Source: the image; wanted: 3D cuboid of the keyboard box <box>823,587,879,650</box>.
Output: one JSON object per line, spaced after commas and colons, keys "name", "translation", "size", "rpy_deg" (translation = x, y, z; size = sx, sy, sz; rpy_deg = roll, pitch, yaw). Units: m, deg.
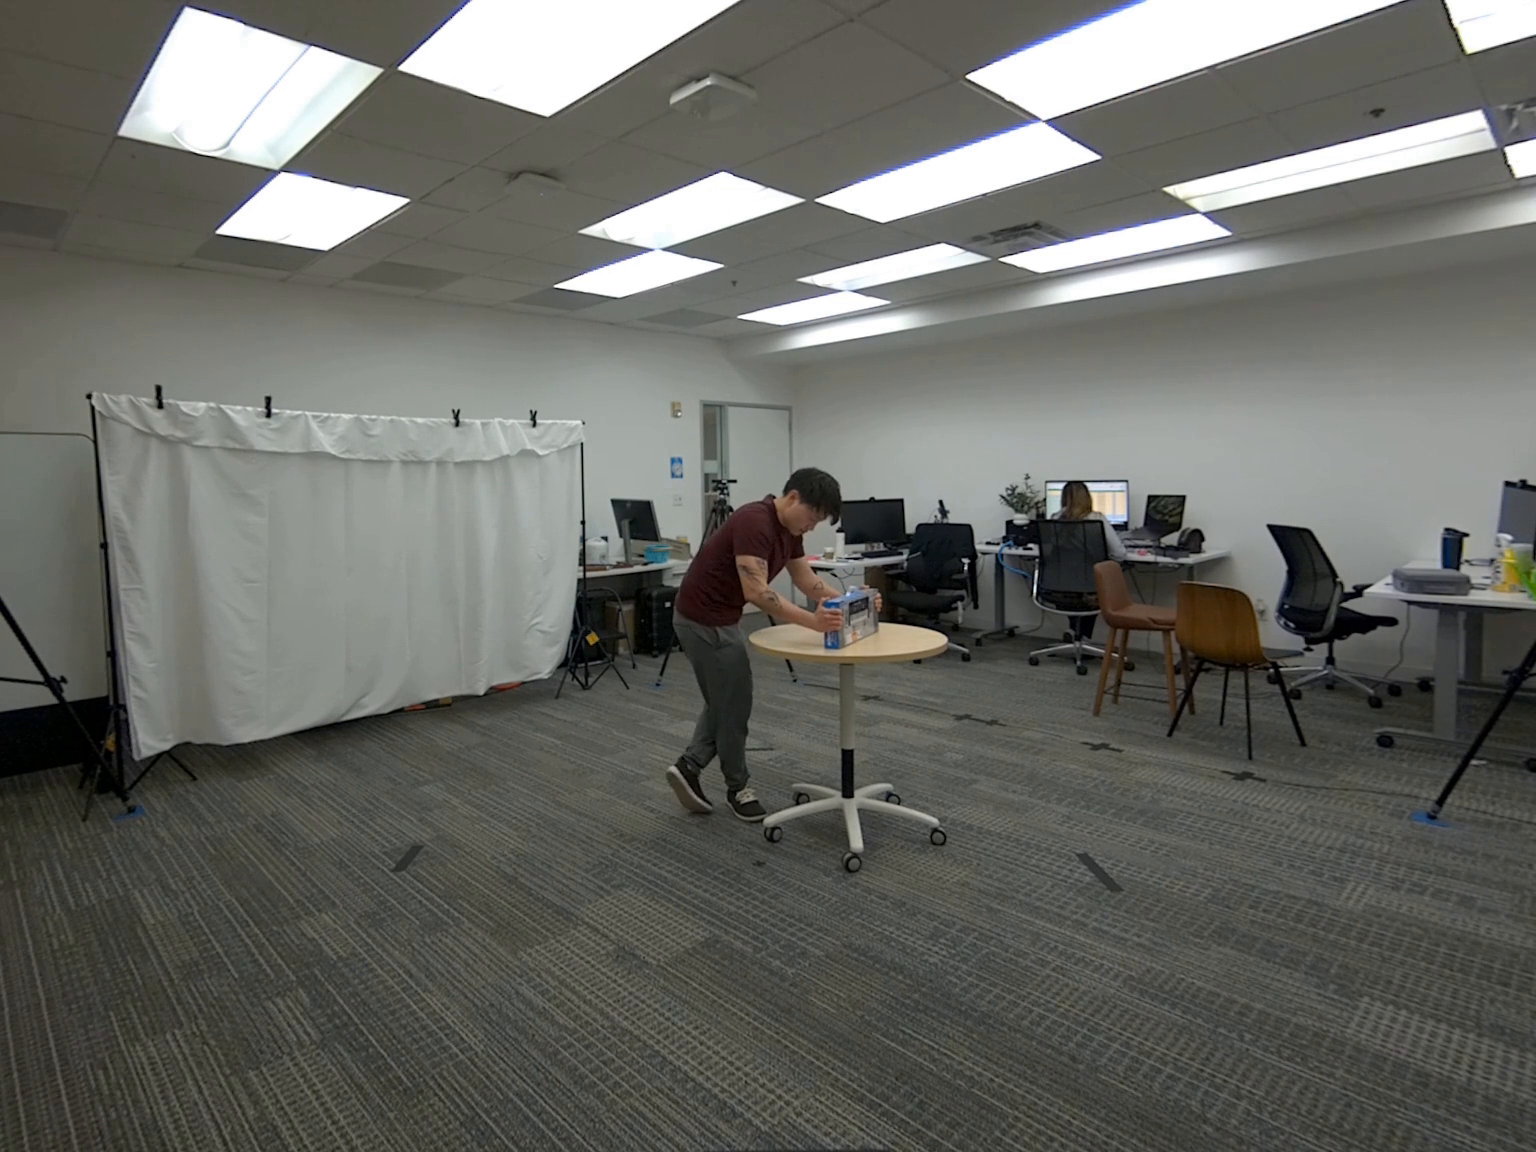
{"name": "keyboard box", "translation": [0.329, 0.161, 3.282], "size": [0.060, 0.175, 0.428], "rpy_deg": [-1, 4, 25]}
